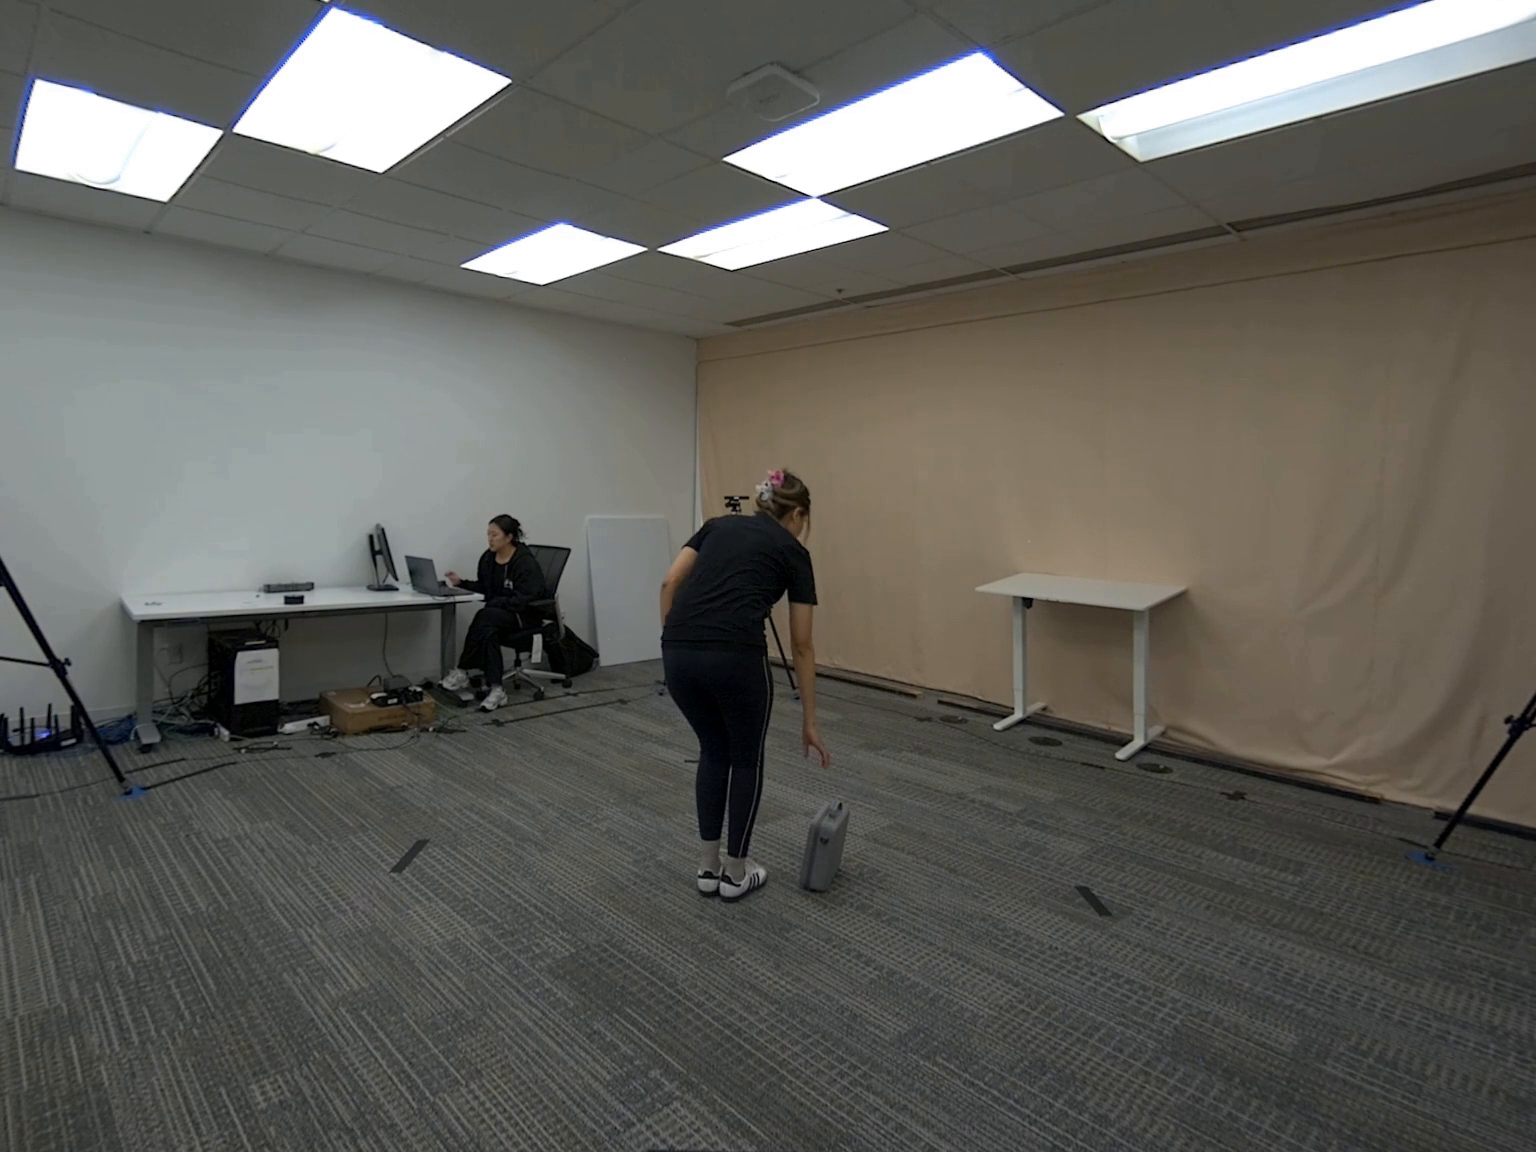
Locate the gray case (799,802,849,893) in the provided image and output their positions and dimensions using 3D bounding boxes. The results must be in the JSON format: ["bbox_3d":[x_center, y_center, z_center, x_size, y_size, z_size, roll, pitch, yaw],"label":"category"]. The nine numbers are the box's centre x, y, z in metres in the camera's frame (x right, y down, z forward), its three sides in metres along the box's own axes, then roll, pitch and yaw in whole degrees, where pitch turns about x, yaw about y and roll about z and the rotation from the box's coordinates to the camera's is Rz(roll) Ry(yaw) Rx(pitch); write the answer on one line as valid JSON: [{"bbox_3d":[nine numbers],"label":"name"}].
[{"bbox_3d":[0.205,0.979,3.082,0.106,0.259,0.254,10,7,17],"label":"gray case"}]
